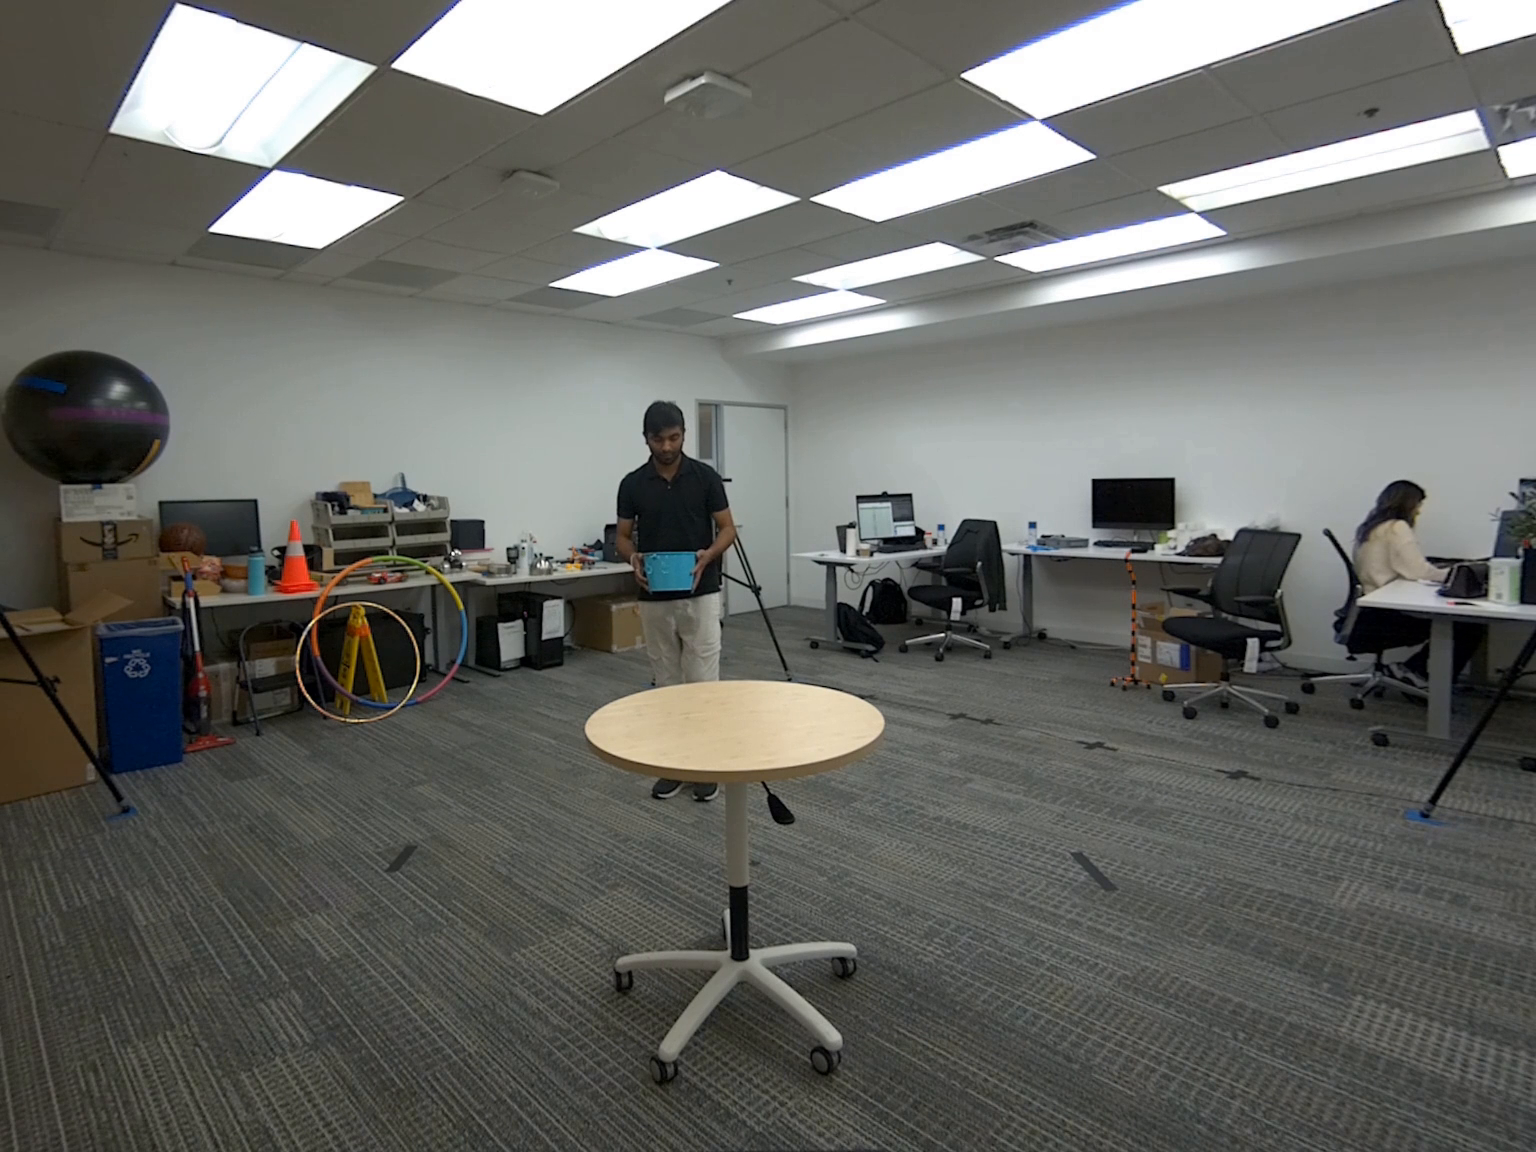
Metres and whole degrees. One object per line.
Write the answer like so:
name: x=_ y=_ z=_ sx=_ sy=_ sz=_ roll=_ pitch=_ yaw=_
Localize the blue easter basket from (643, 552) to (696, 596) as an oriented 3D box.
blue easter basket: x=-0.404 y=-0.019 z=3.553 sx=0.243 sy=0.156 sz=0.243 roll=-4 pitch=-1 yaw=-2
